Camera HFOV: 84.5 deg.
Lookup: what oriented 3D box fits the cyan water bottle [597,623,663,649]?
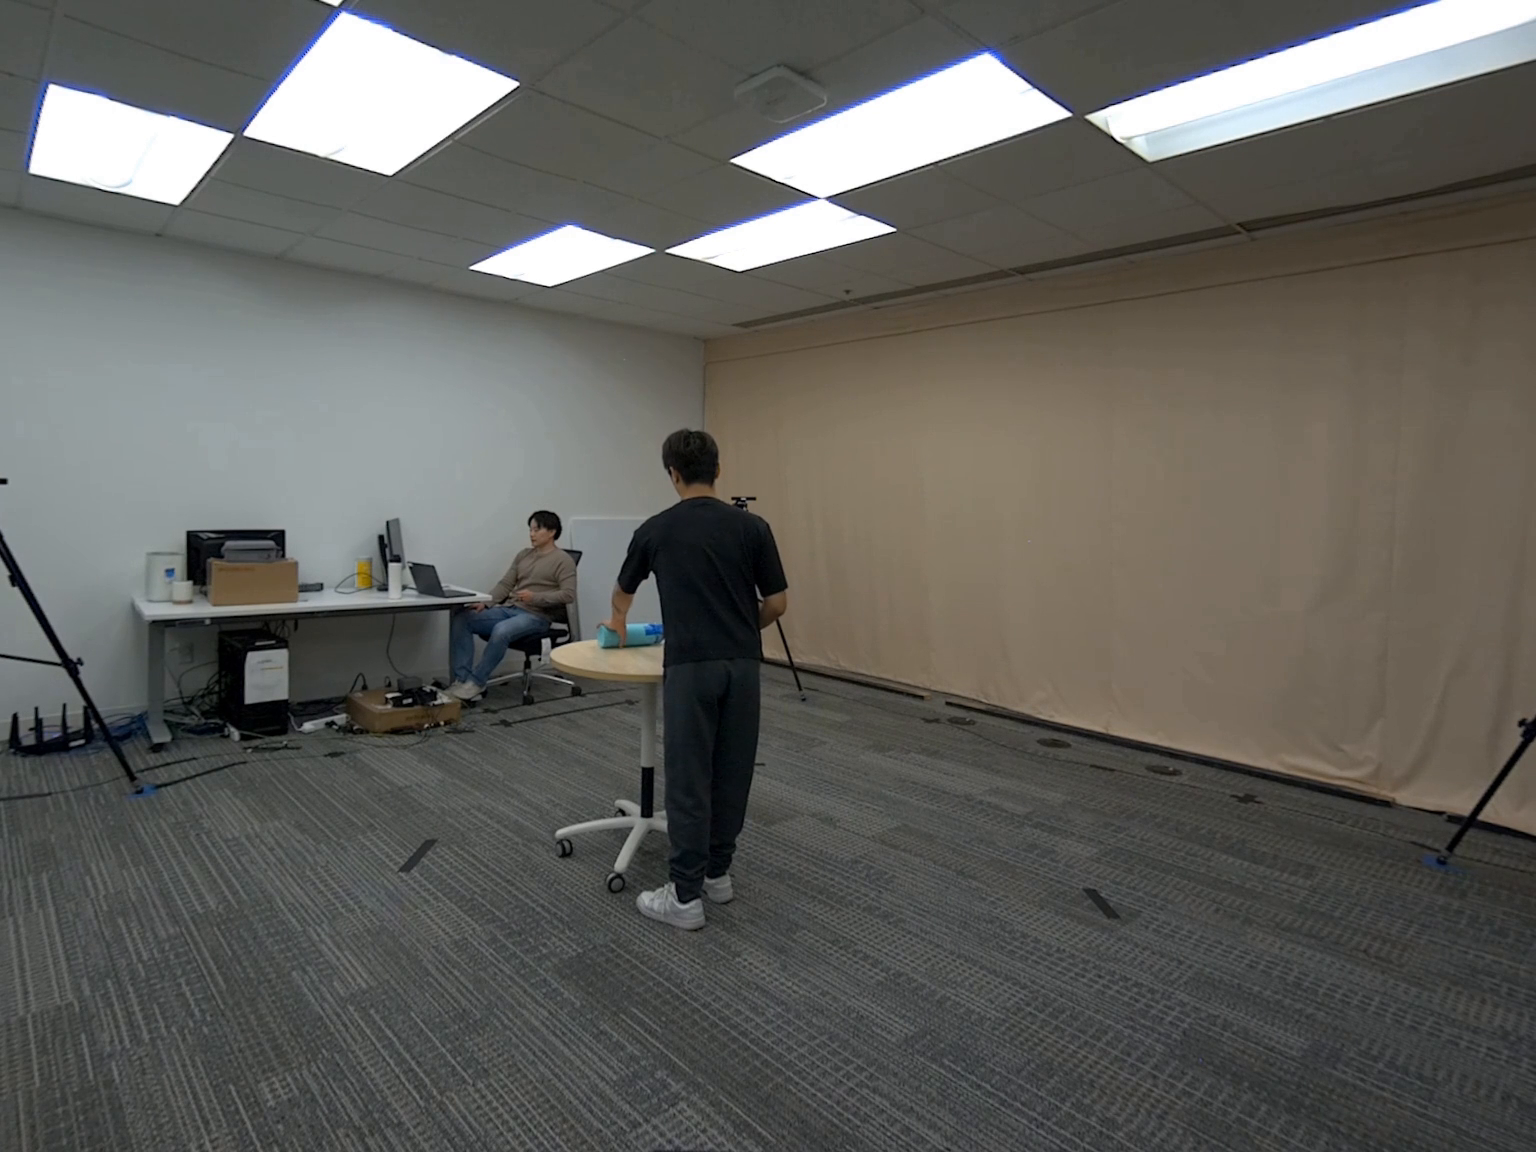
[{"bbox_3d":[-0.544,0.239,3.417,0.278,0.092,0.094,-1,5,-26],"label":"cyan water bottle"}]
